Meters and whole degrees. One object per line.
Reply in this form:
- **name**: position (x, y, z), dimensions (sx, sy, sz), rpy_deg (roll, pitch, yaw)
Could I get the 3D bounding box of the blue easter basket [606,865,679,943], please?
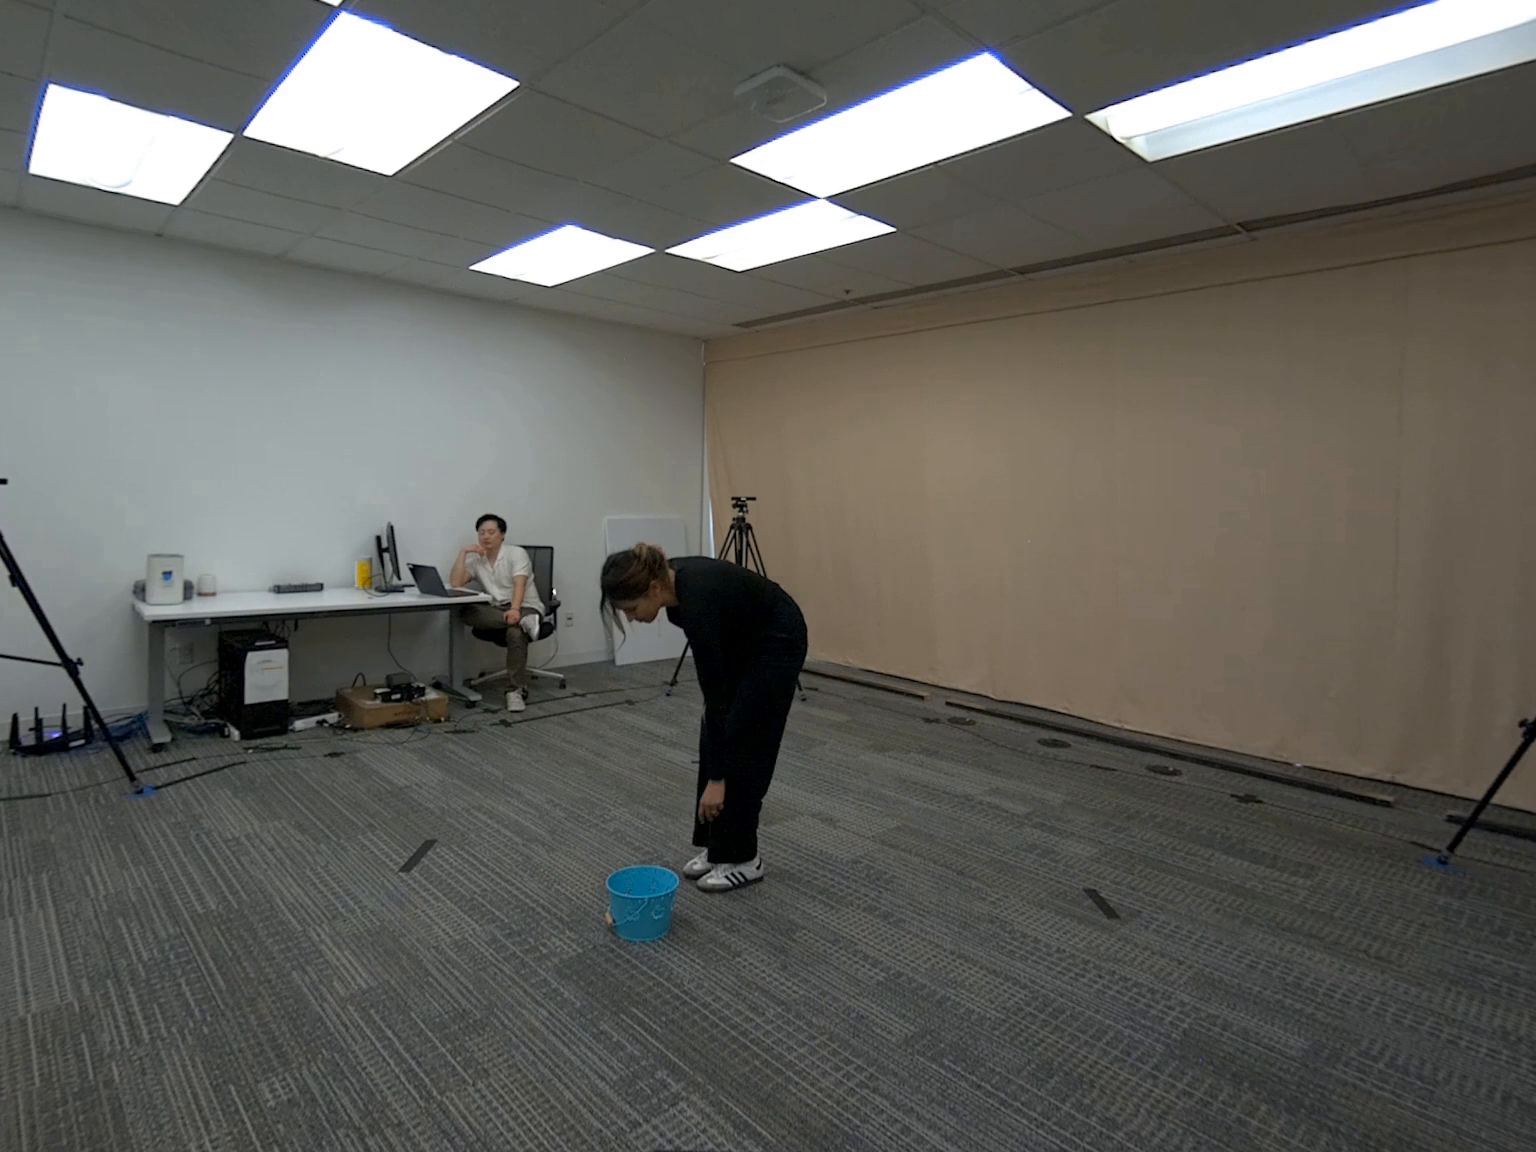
- **blue easter basket**: position (-0.416, 1.059, 2.719), dimensions (0.243, 0.155, 0.244), rpy_deg (2, 5, -1)
